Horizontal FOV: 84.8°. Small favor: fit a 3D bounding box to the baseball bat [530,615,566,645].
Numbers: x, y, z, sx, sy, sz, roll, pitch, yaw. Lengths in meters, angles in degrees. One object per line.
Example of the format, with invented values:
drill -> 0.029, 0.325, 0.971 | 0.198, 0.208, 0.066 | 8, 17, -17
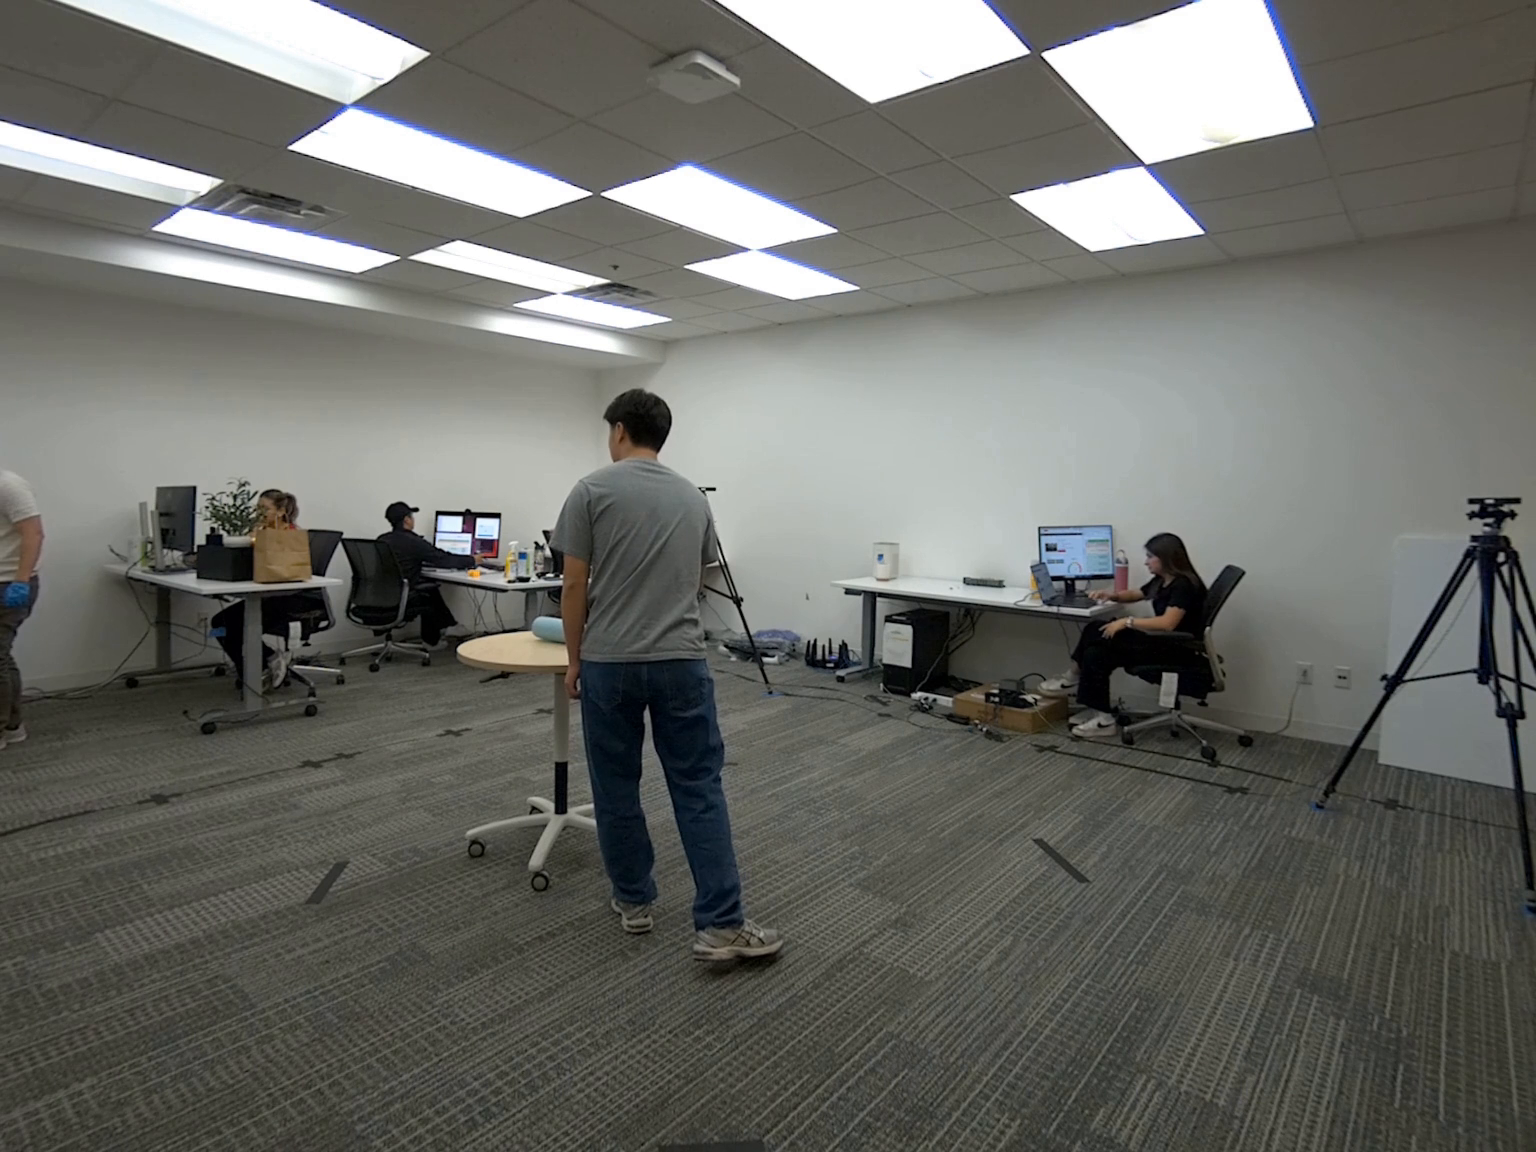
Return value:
baseball bat -> -0.680, 0.226, 3.210 | 0.560, 0.089, 0.086 | 6, 6, 33
